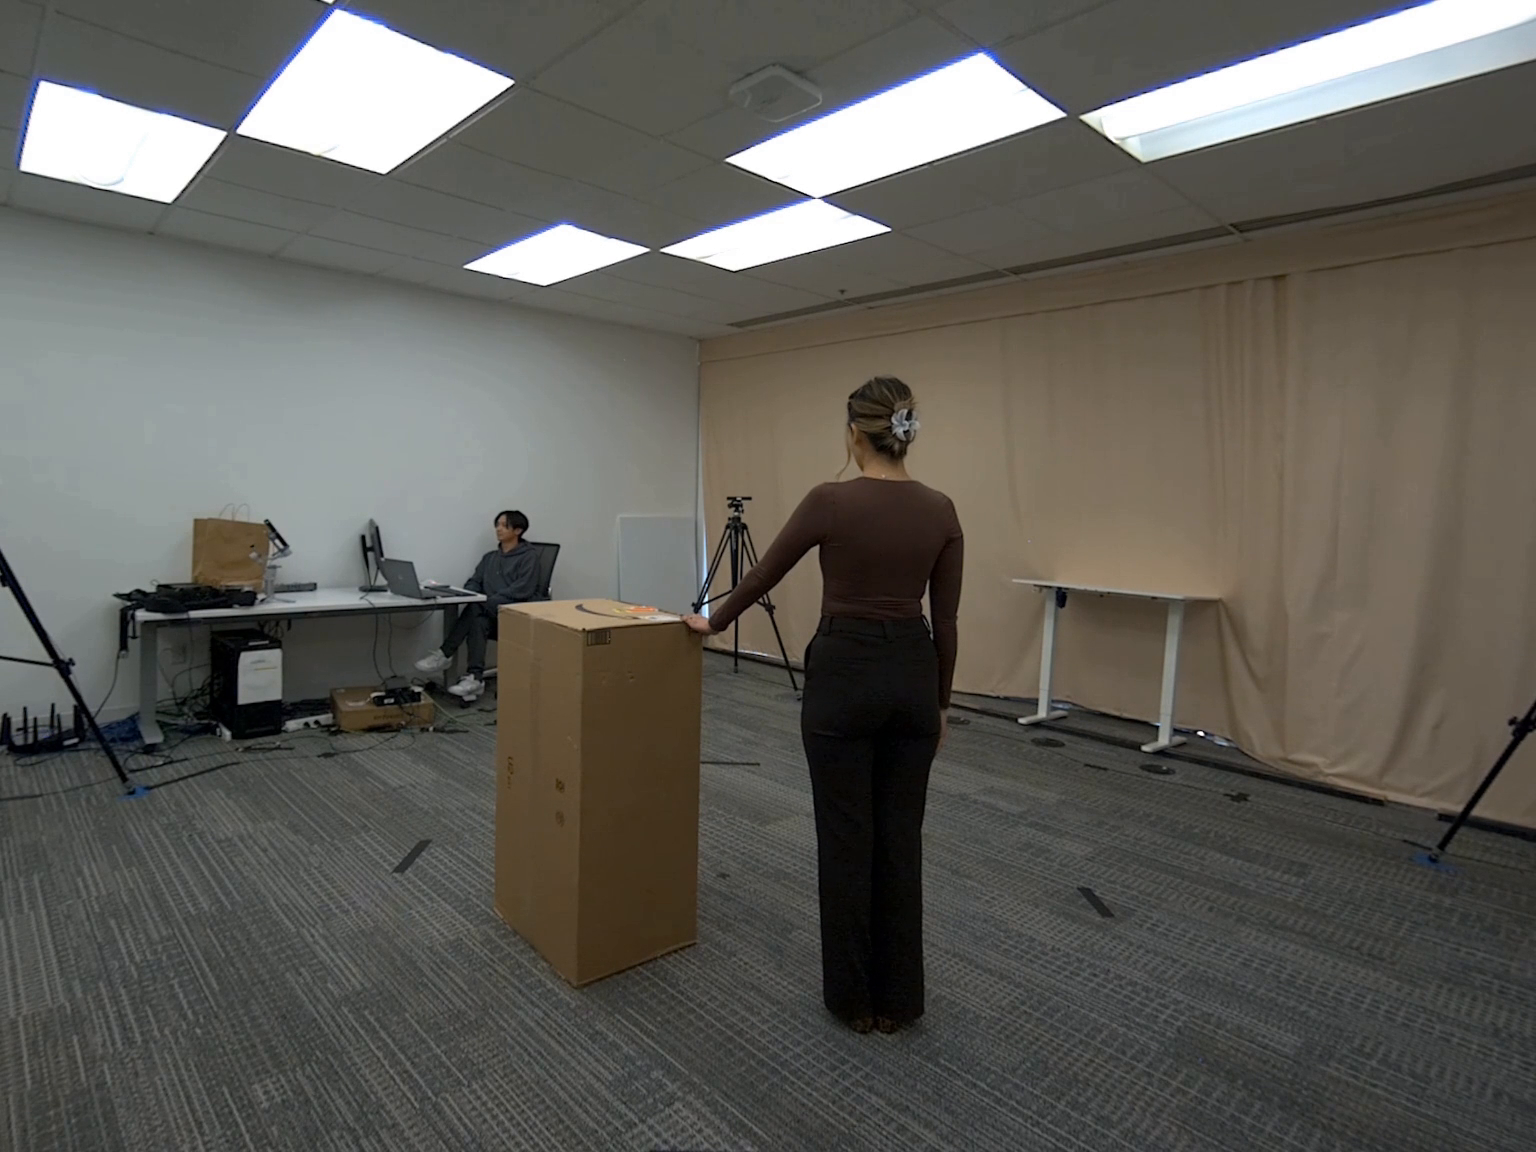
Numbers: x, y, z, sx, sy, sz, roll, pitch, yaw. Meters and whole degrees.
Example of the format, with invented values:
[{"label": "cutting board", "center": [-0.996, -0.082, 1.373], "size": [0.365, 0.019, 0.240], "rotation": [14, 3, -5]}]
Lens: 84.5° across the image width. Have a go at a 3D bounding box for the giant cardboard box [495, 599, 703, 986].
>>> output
[{"label": "giant cardboard box", "center": [-0.560, 0.626, 2.696], "size": [0.436, 1.025, 0.598], "rotation": [0, 3, -38]}]
